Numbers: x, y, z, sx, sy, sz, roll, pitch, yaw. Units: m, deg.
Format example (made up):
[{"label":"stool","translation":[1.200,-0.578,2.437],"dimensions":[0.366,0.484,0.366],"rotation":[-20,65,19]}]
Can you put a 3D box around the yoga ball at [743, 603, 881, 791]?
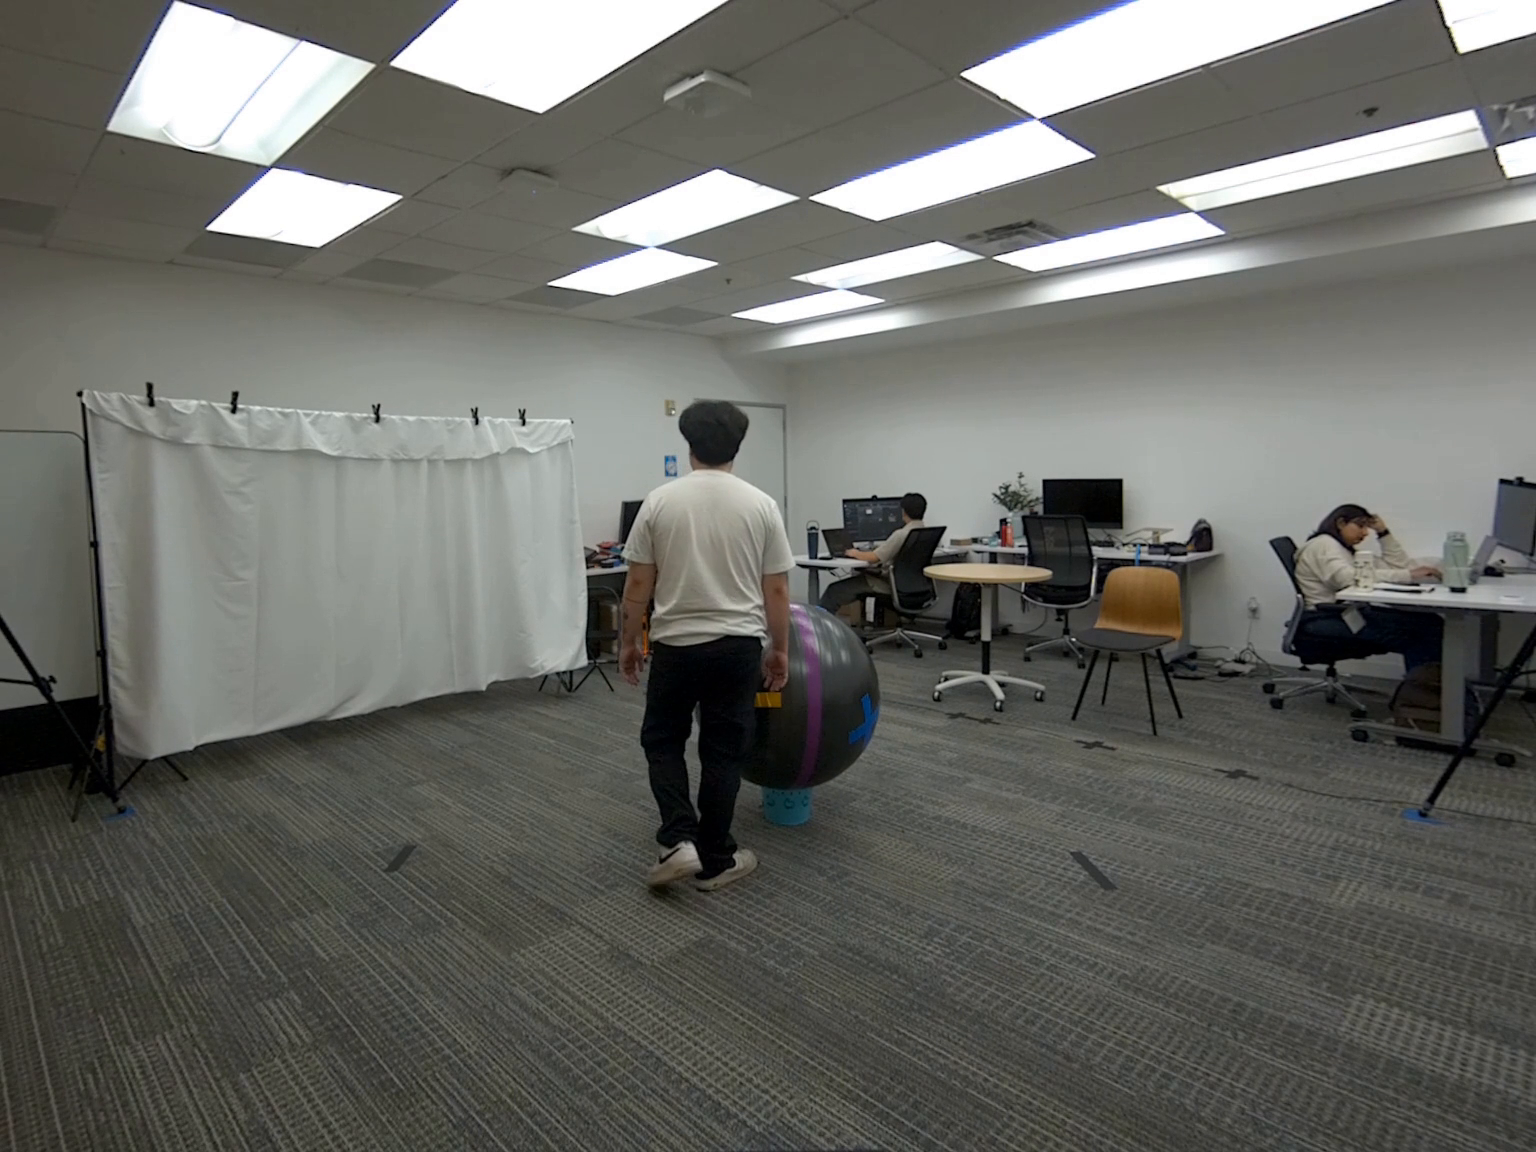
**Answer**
[{"label":"yoga ball","translation":[0.073,0.486,3.503],"dimensions":[0.757,0.755,0.762],"rotation":[-1,5,-2]}]
